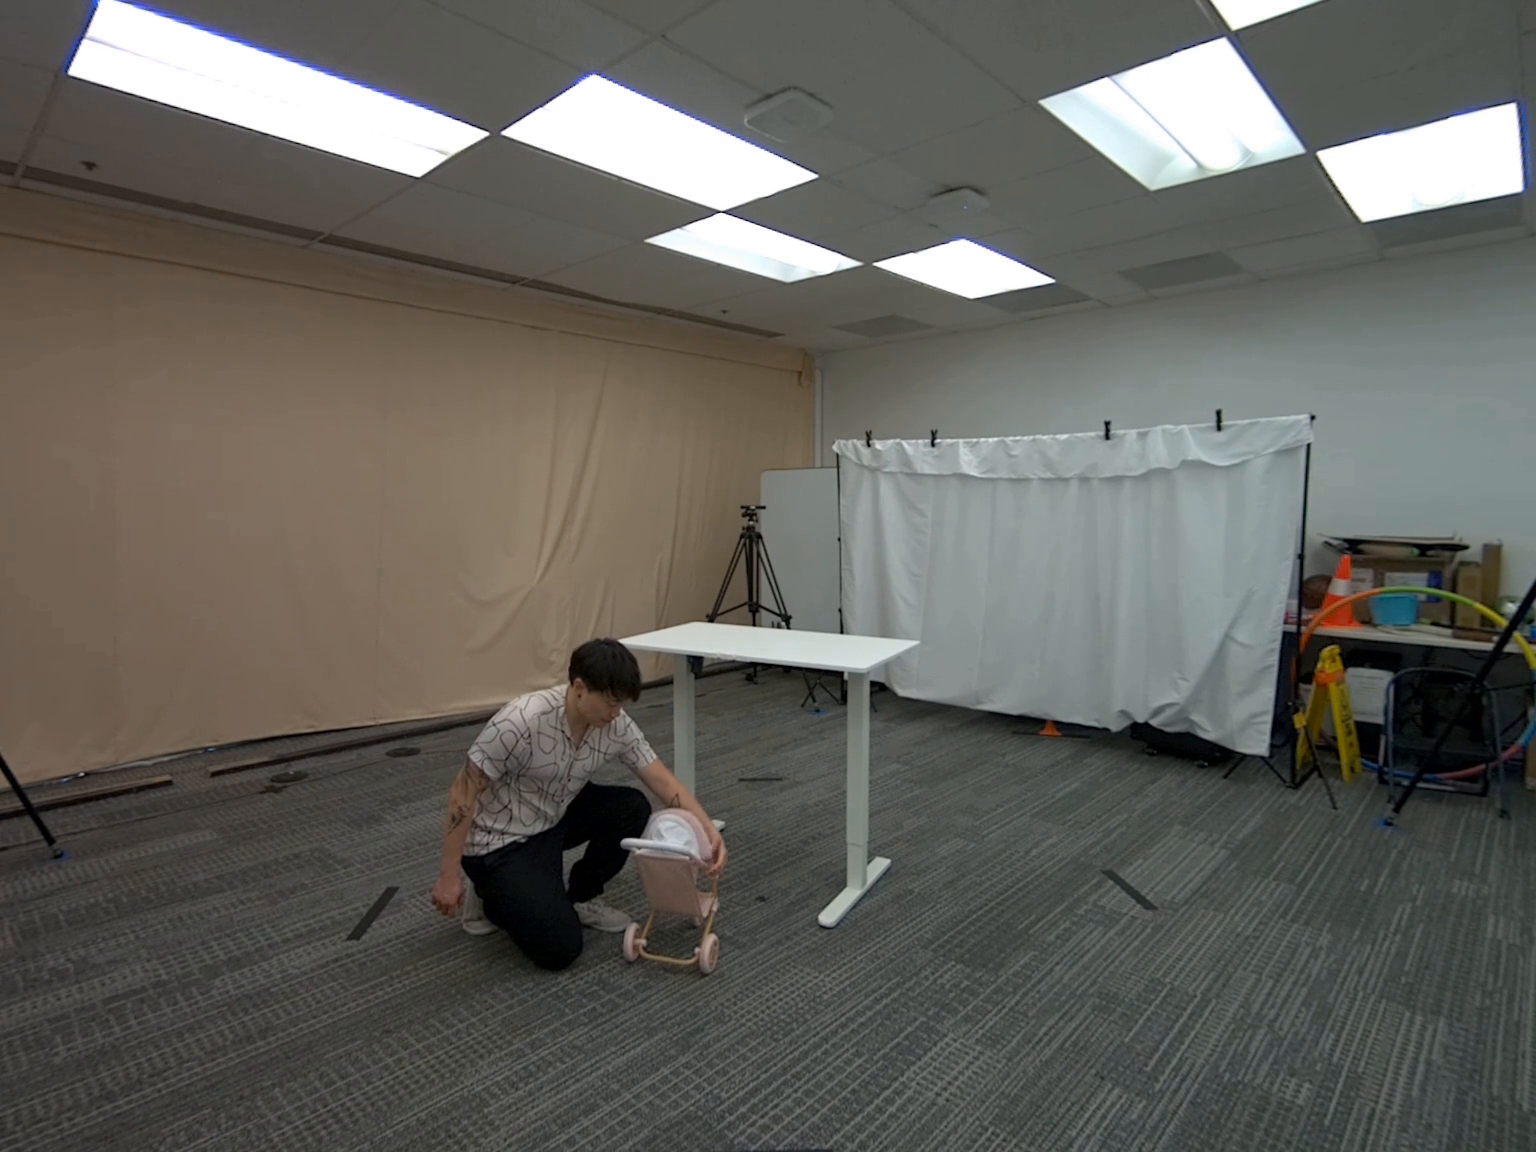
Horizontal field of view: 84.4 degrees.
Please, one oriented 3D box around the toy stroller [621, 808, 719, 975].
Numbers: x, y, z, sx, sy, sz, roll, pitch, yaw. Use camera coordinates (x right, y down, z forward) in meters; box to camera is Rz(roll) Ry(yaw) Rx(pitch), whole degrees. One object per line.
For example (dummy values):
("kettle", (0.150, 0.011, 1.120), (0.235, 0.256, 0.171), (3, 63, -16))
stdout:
("toy stroller", (-0.275, 0.954, 2.593), (0.287, 0.529, 0.338), (1, 18, 19))
